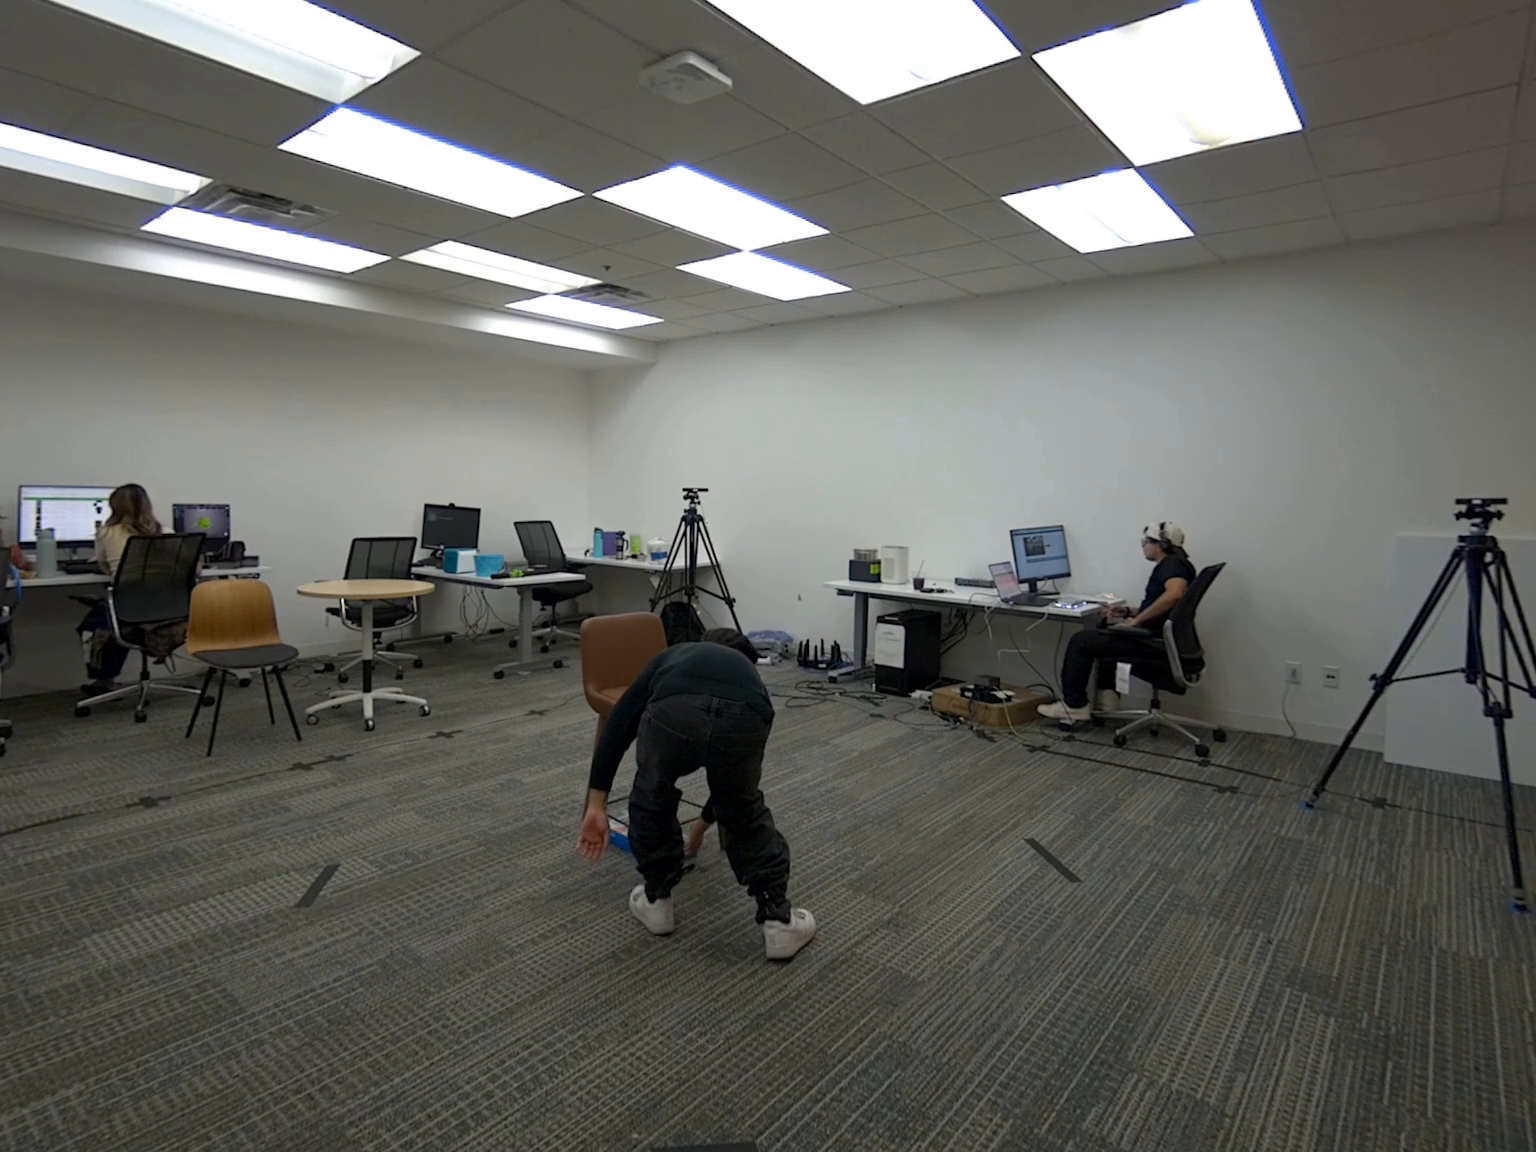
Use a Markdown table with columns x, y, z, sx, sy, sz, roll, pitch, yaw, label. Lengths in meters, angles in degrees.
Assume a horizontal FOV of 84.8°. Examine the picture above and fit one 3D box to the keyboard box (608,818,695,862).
| x | y | z | sx | sy | sz | roll | pitch | yaw | label |
| --- | --- | --- | --- | --- | --- | --- | --- | --- | --- |
| -0.503 | 1.012 | 3.311 | 0.452 | 0.059 | 0.171 | 6 | 8 | 43 | keyboard box |
